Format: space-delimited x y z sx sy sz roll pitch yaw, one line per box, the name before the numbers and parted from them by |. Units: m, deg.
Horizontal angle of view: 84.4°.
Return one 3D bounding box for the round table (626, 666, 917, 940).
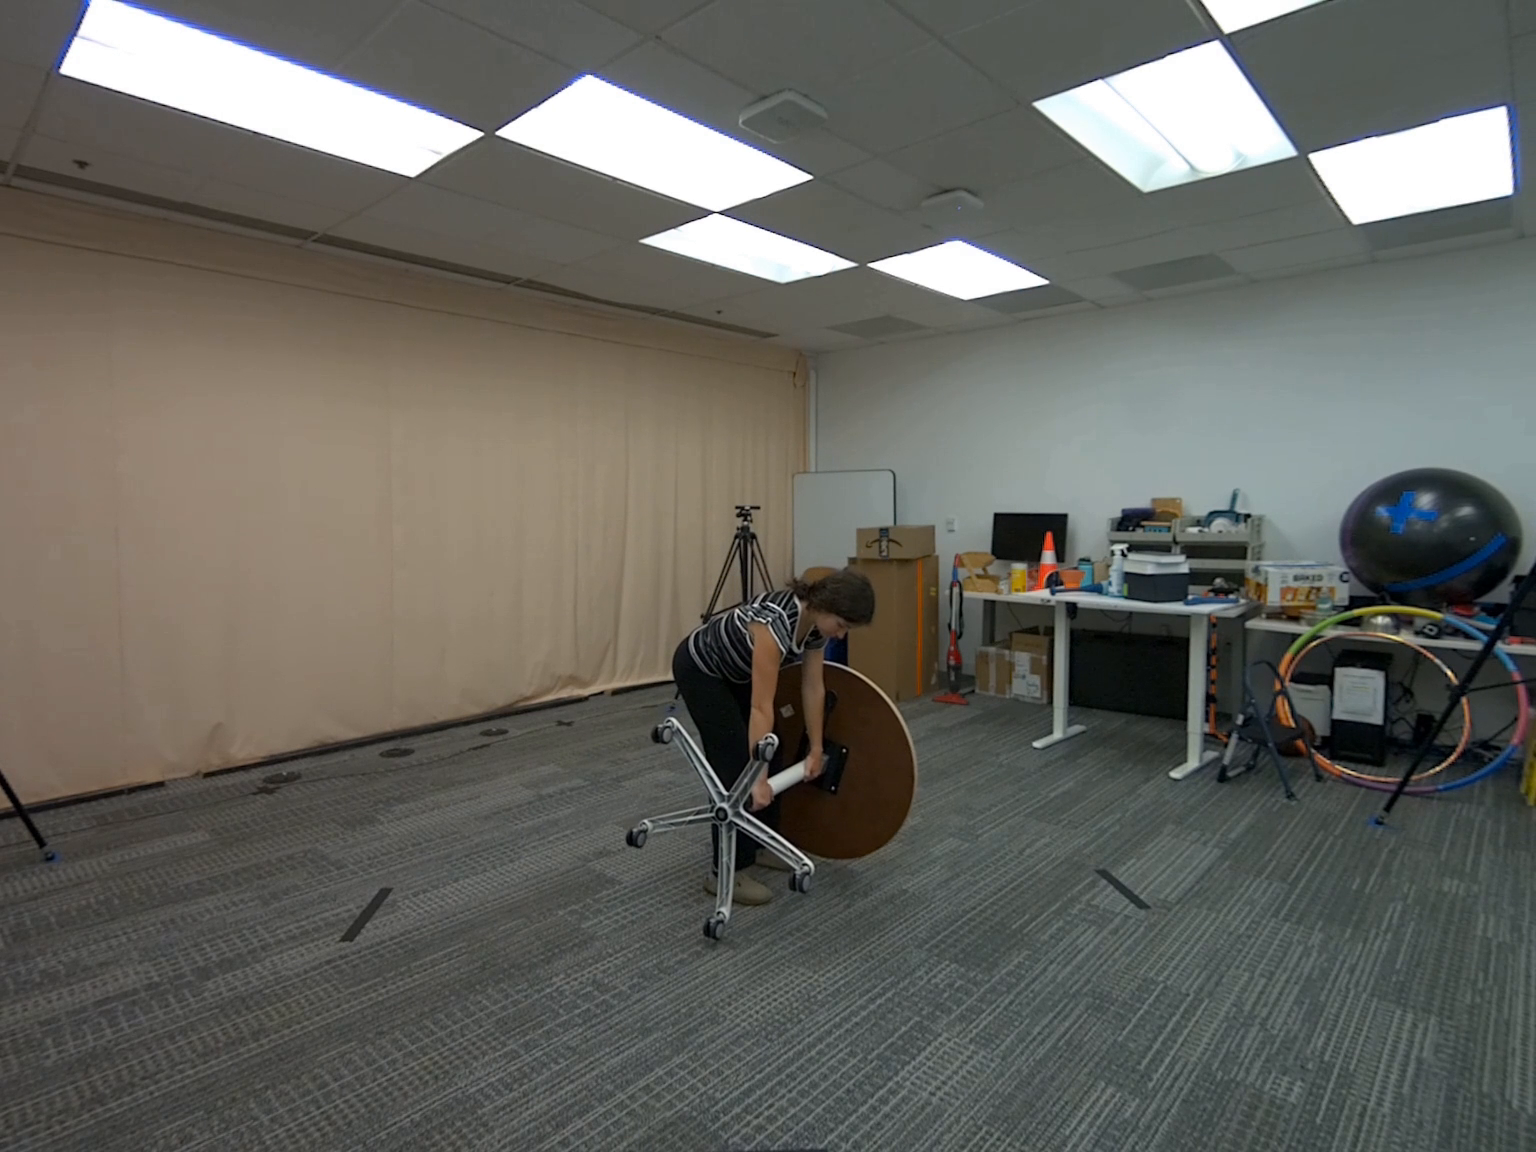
round table | 0.015 0.751 2.956 0.787 0.762 0.772 2 6 33
